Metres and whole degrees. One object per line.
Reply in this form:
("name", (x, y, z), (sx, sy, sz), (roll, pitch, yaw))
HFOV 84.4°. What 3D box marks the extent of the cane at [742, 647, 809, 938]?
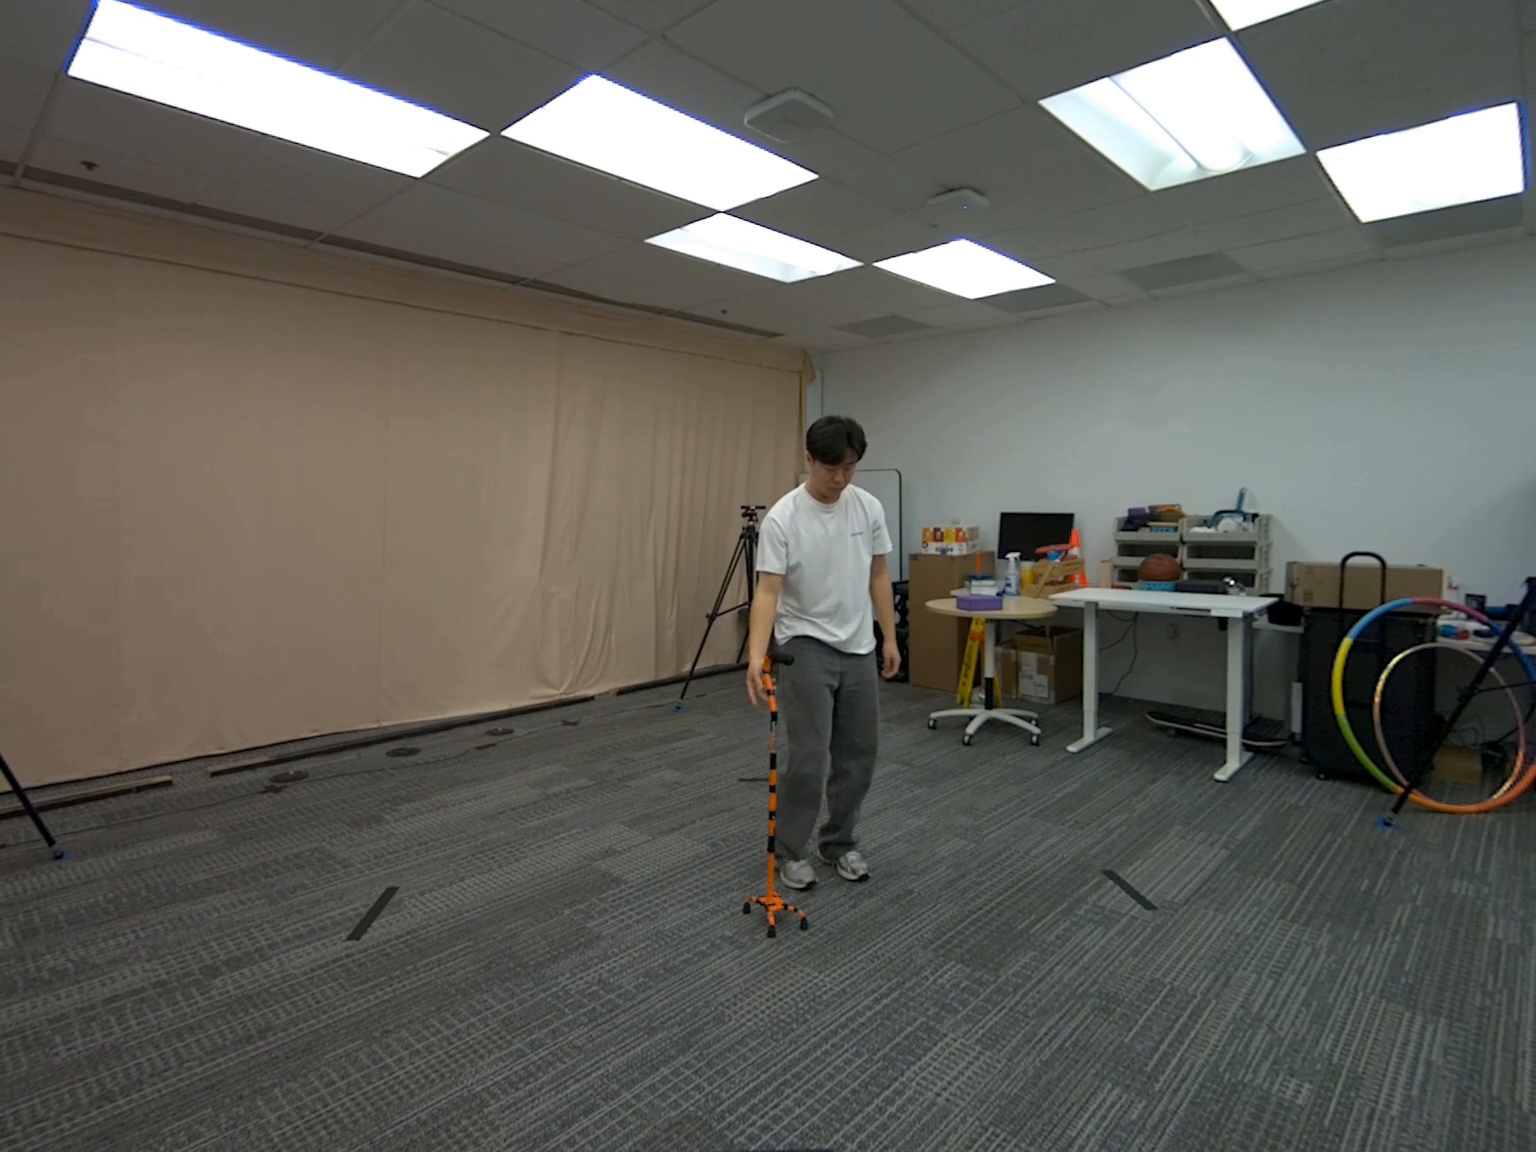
("cane", (0.036, 0.702, 2.807), (0.148, 0.906, 0.212), (0, 3, -25))
